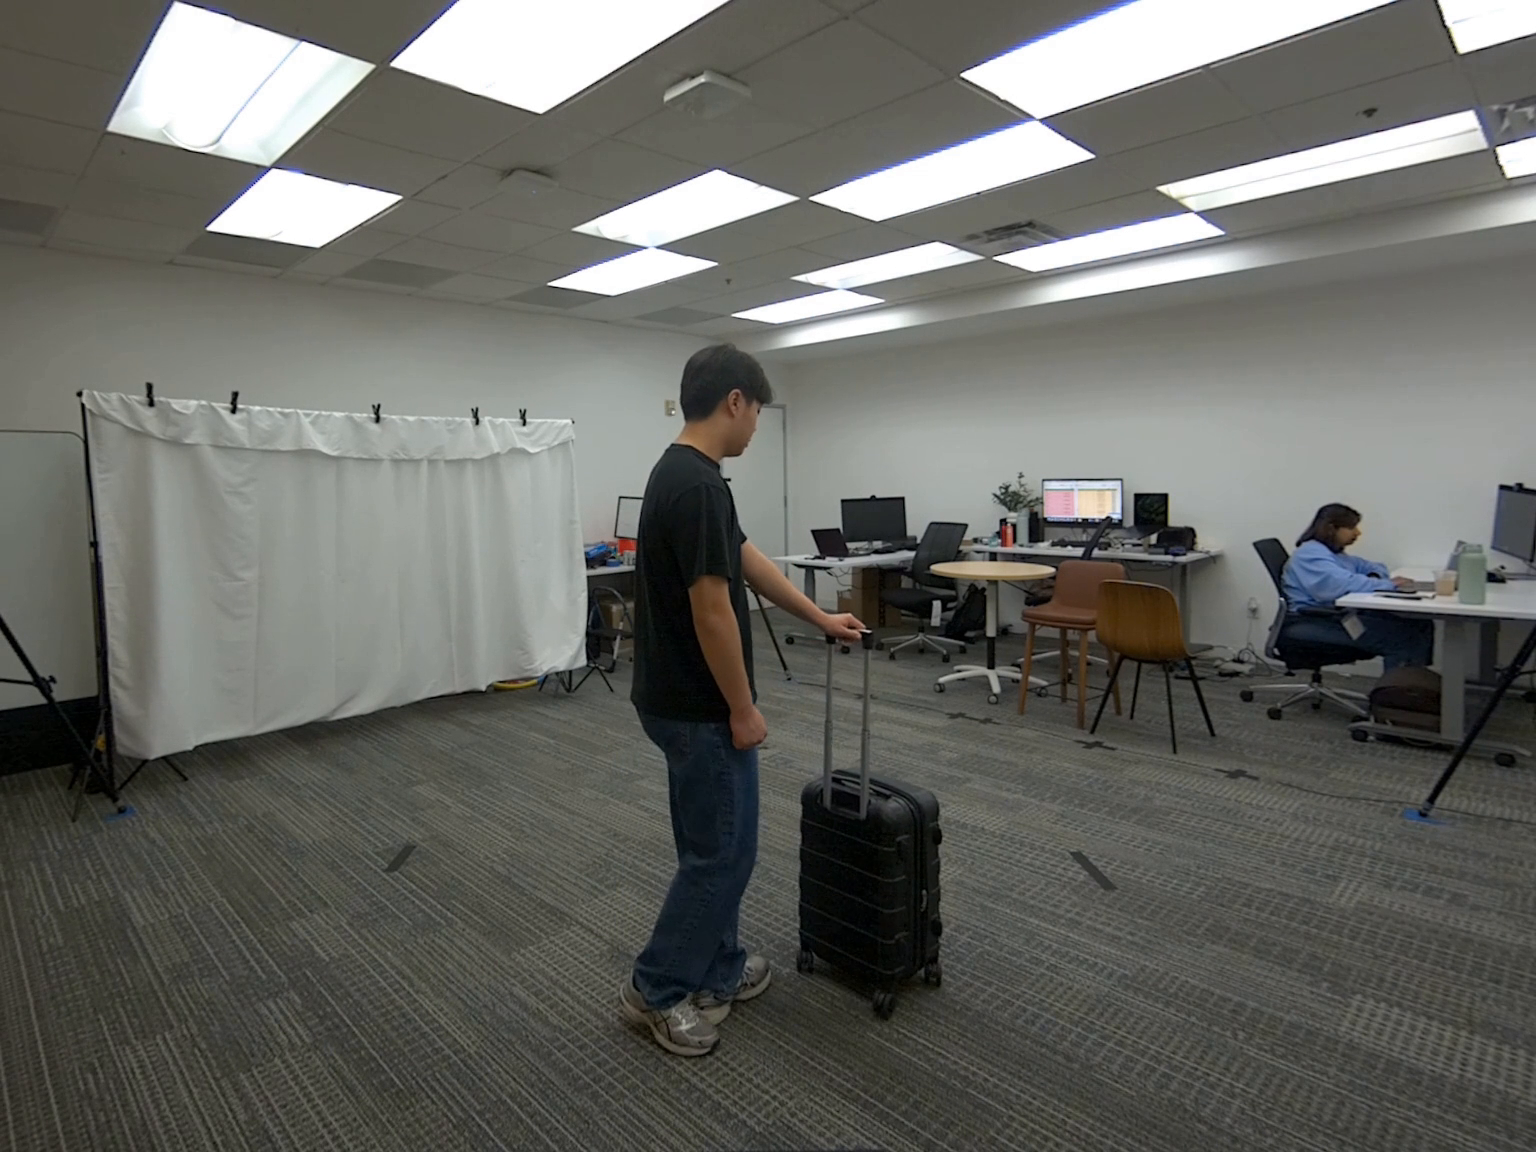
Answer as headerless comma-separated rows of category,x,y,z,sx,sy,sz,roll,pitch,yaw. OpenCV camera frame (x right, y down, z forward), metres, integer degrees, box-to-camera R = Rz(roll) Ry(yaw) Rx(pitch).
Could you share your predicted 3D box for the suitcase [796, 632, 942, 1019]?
suitcase,0.294,0.642,2.407,0.249,0.979,0.395,2,0,-44
